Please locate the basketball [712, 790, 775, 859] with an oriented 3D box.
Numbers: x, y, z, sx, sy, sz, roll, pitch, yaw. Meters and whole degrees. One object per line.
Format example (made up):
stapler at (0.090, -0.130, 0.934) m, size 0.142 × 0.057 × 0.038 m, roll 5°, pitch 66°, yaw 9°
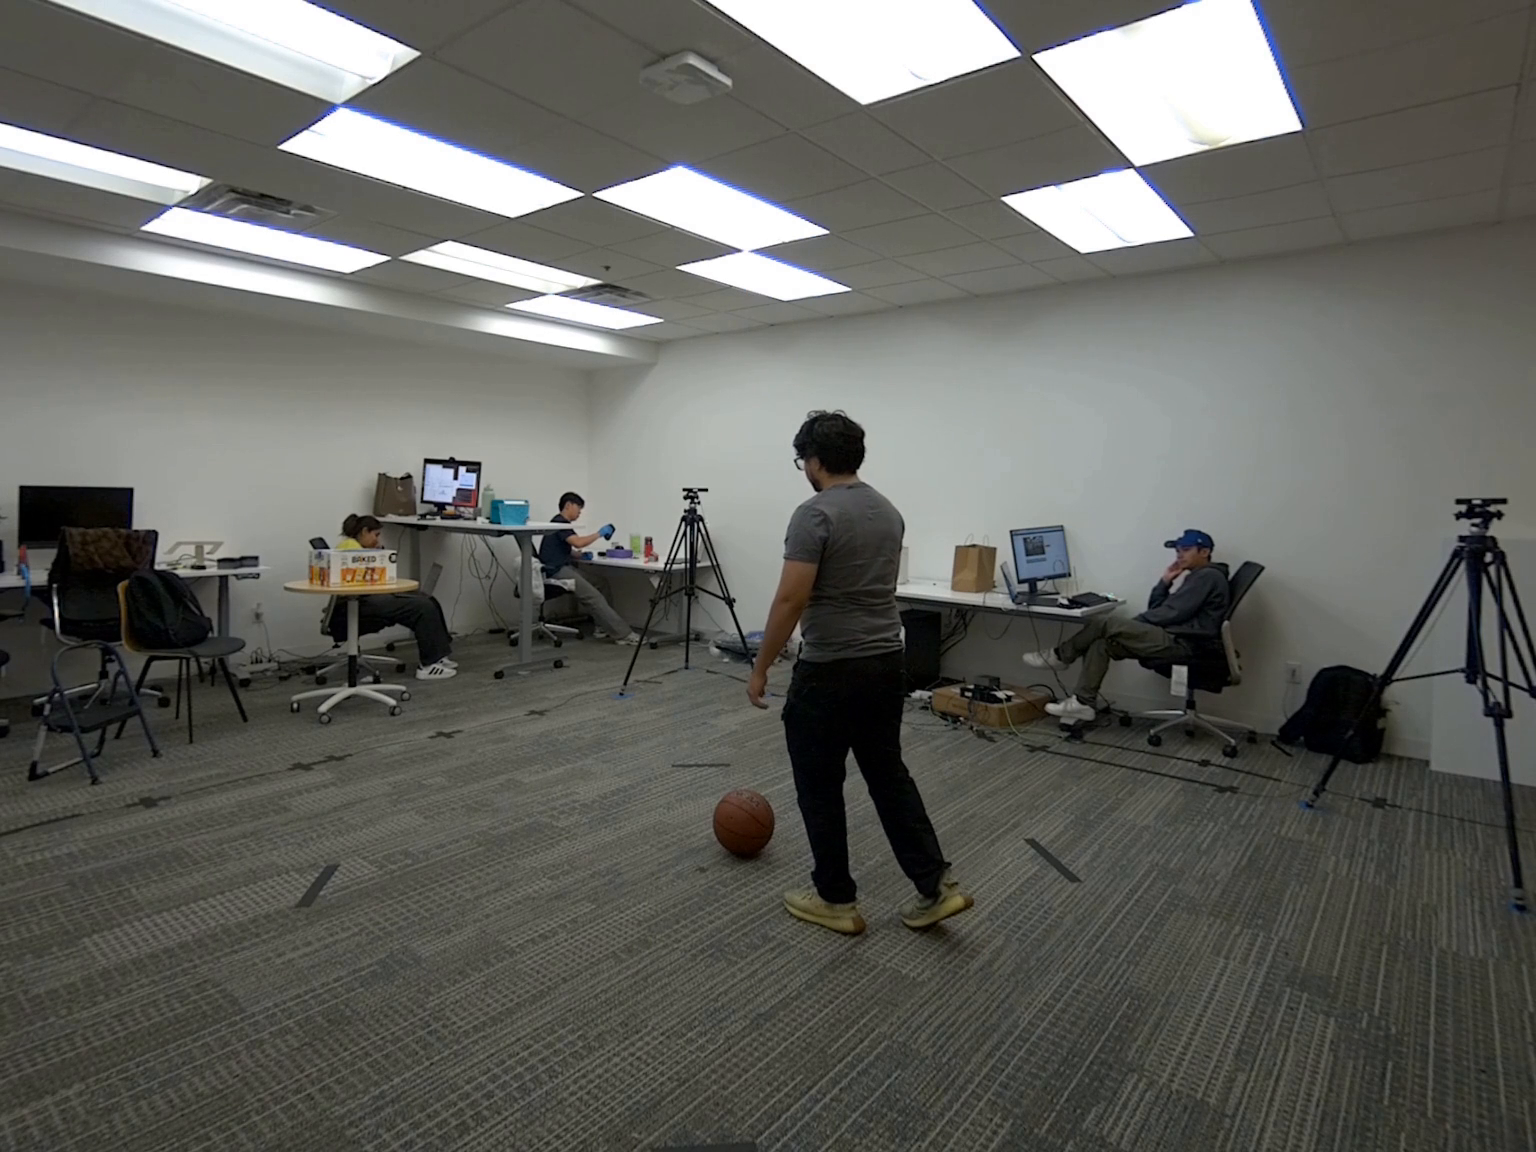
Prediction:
basketball at (-0.103, 0.934, 3.251) m, size 0.235 × 0.235 × 0.237 m, roll 1°, pitch 4°, yaw -2°
